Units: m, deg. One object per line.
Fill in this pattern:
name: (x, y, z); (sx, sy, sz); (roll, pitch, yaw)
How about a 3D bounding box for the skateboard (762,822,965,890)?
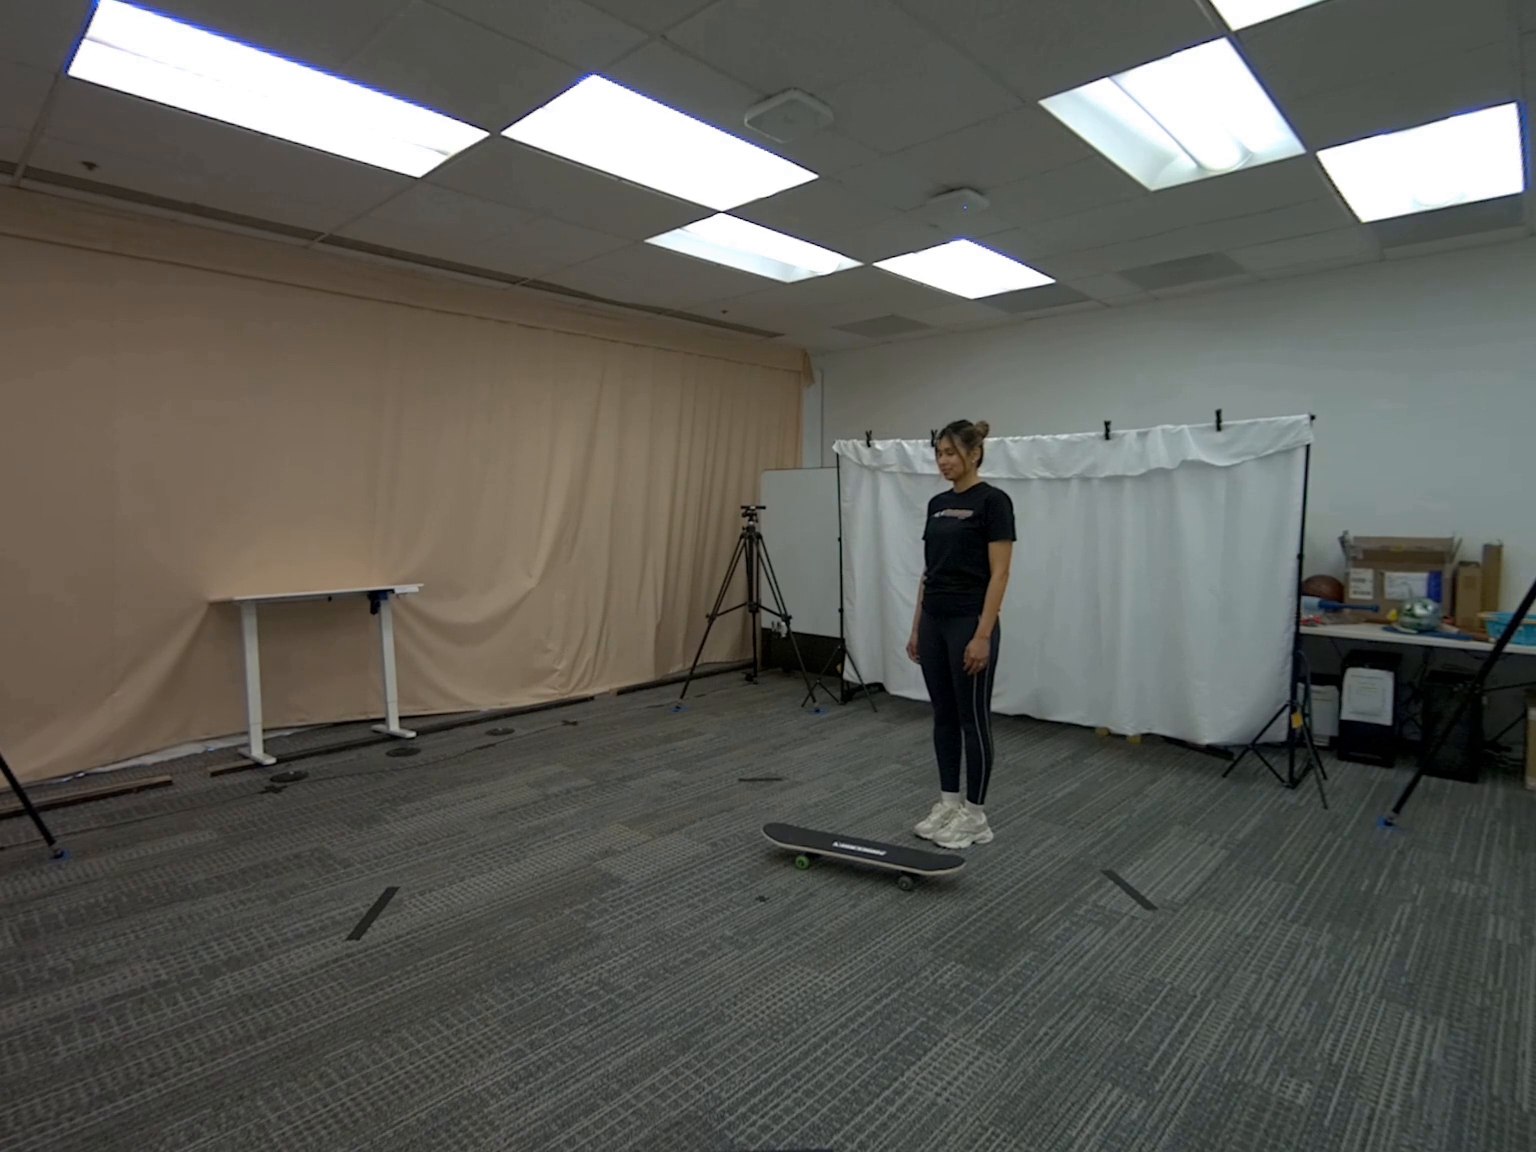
skateboard: (0.349, 1.064, 3.203); (0.806, 0.110, 0.189); (2, 4, 26)
